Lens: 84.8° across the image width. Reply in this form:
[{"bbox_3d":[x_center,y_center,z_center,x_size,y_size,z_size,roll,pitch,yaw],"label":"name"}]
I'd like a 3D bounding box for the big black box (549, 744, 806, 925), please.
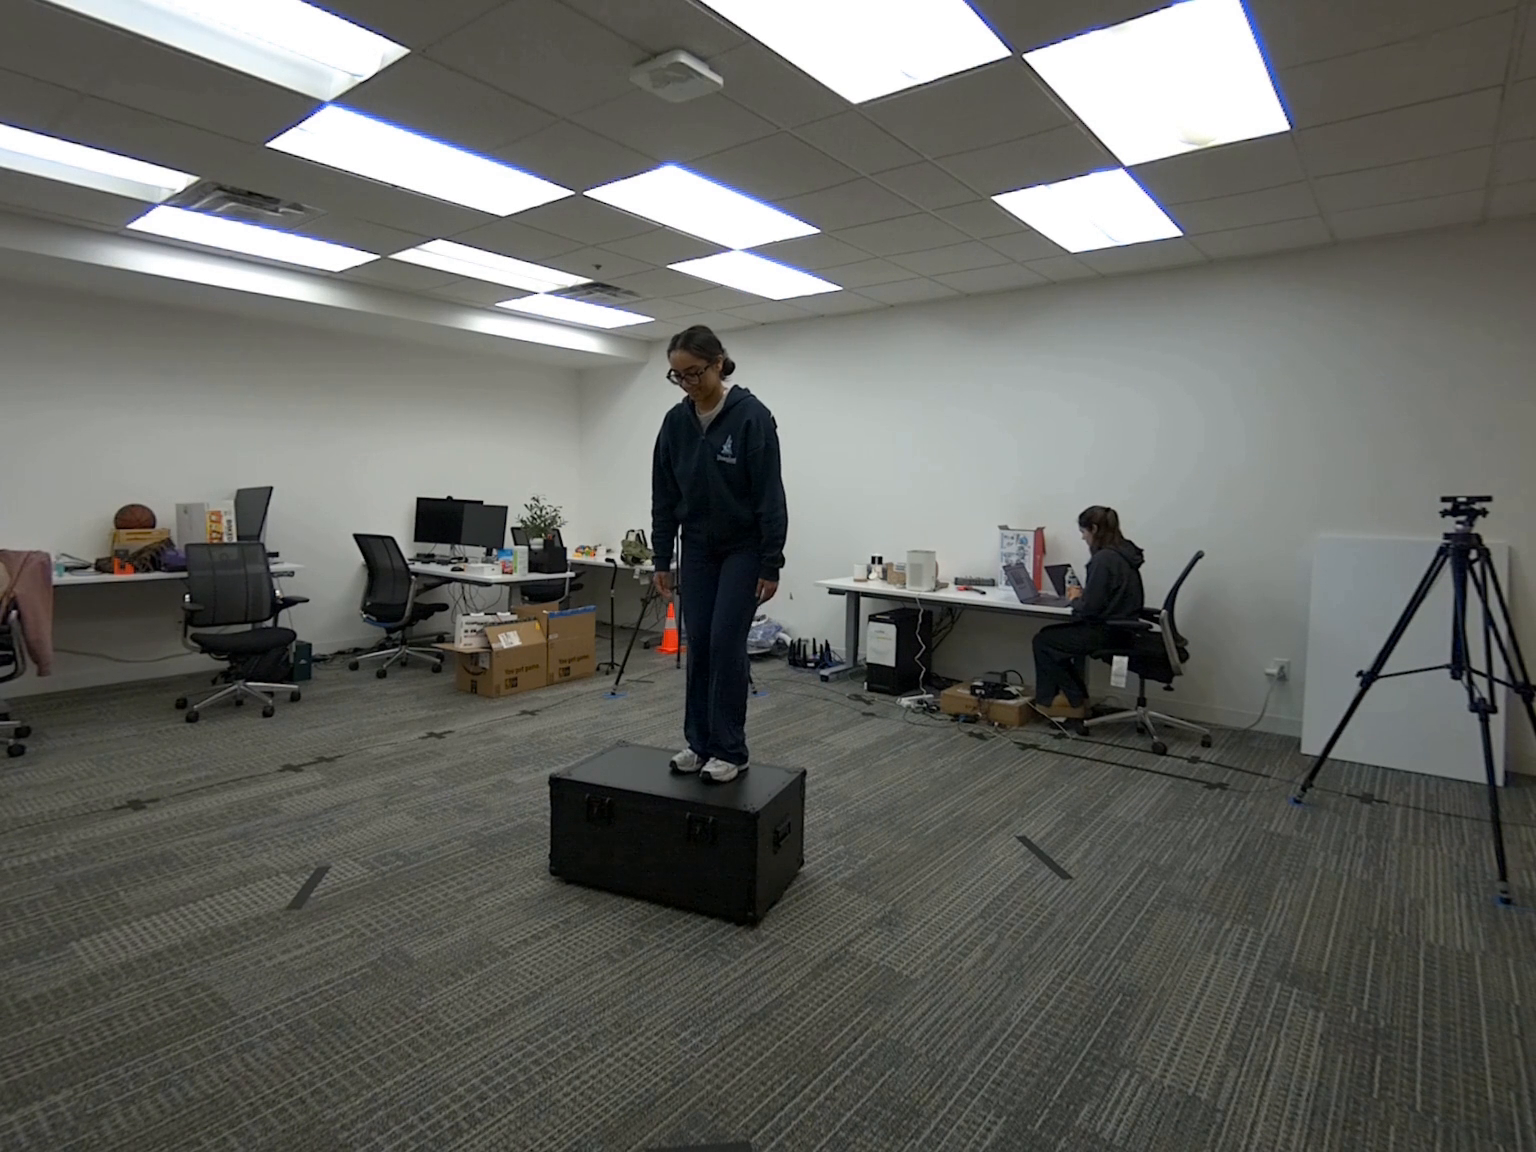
[{"bbox_3d":[-0.356,0.881,3.054,0.882,0.395,0.511,4,5,23],"label":"big black box"}]
